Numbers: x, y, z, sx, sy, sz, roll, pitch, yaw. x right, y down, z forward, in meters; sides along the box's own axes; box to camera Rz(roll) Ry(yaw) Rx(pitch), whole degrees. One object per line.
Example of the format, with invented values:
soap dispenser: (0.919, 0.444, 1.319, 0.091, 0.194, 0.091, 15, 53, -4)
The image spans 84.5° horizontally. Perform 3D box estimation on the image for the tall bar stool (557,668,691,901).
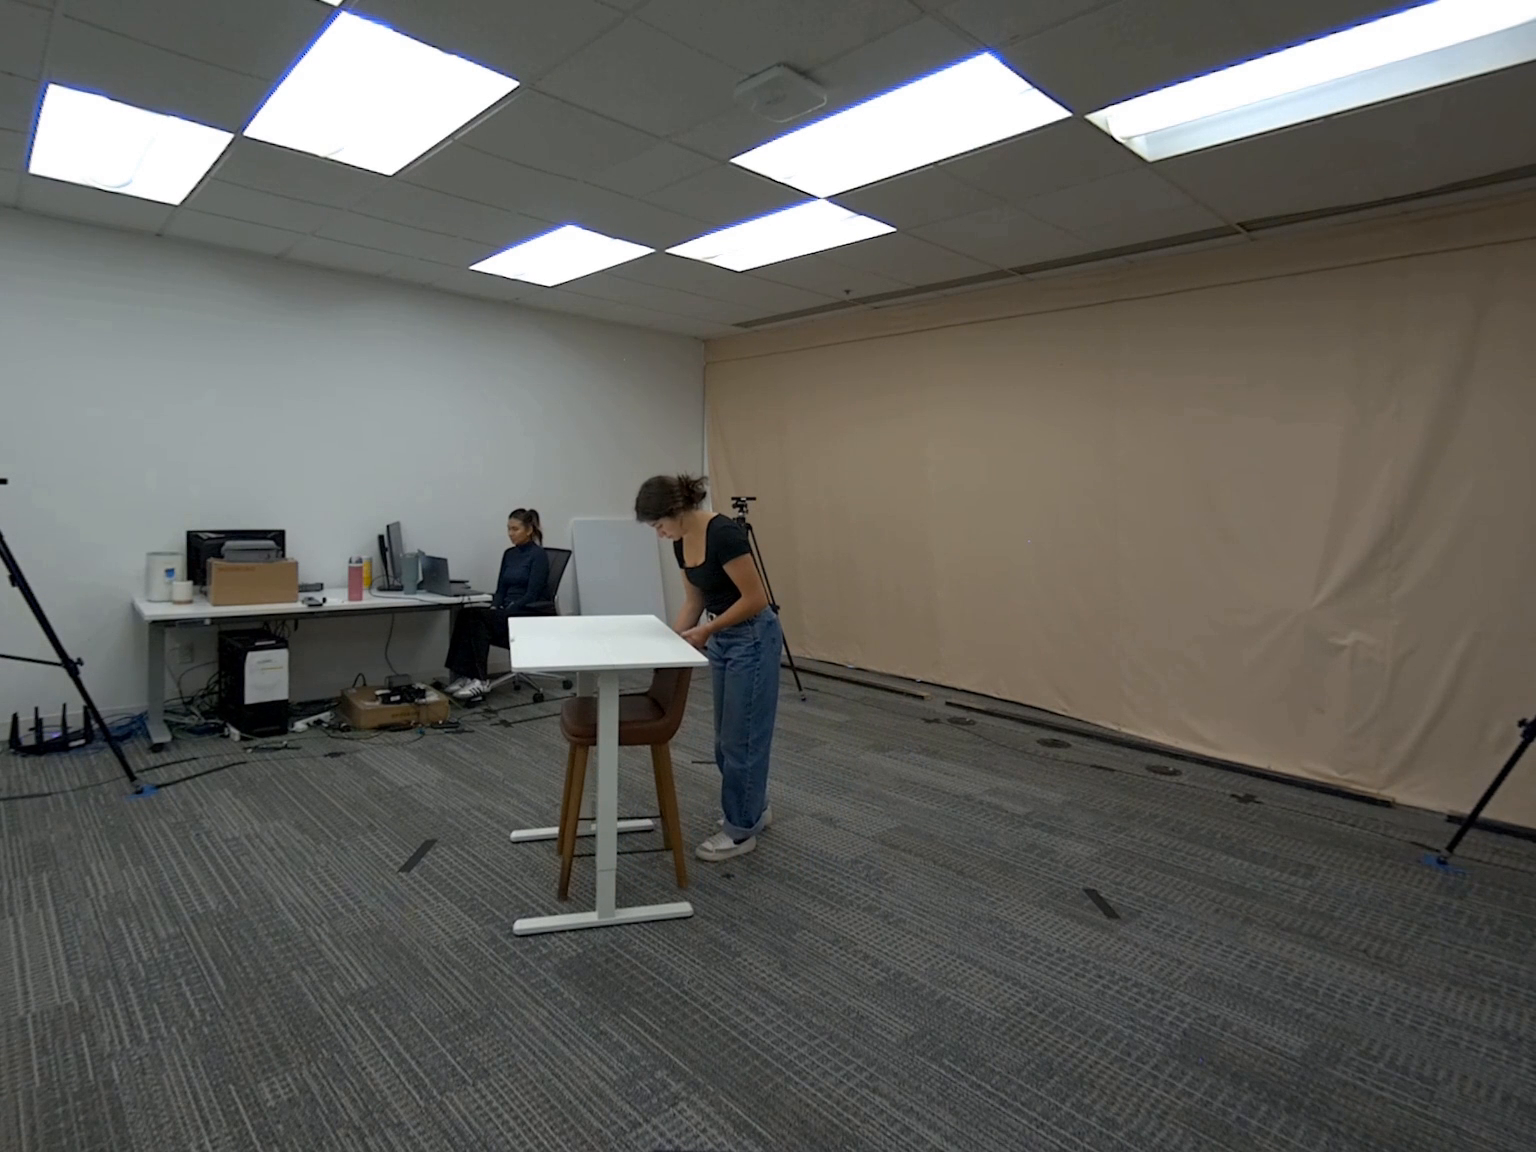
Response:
tall bar stool: (-0.536, 0.667, 3.098, 0.462, 0.888, 0.462, 2, 3, -14)
